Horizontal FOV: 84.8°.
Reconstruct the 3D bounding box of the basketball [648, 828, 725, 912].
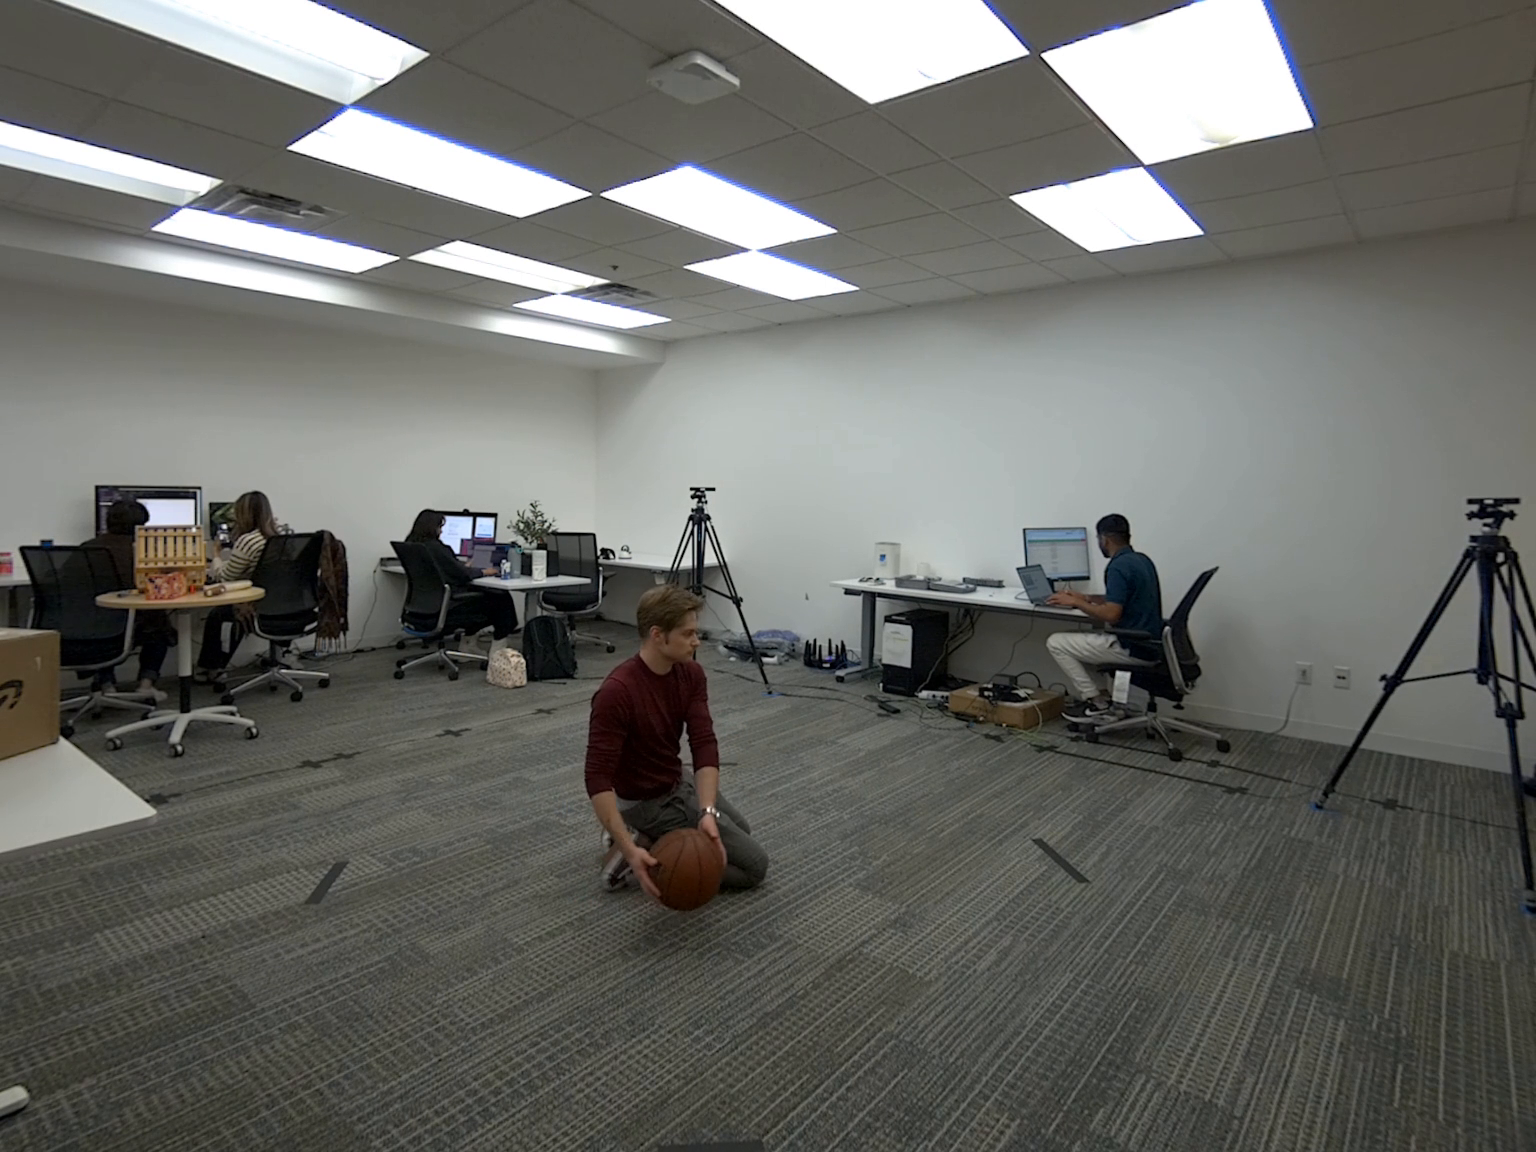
[{"bbox_3d":[-0.248,0.889,2.635,0.235,0.235,0.237,1,4,-2],"label":"basketball"}]
